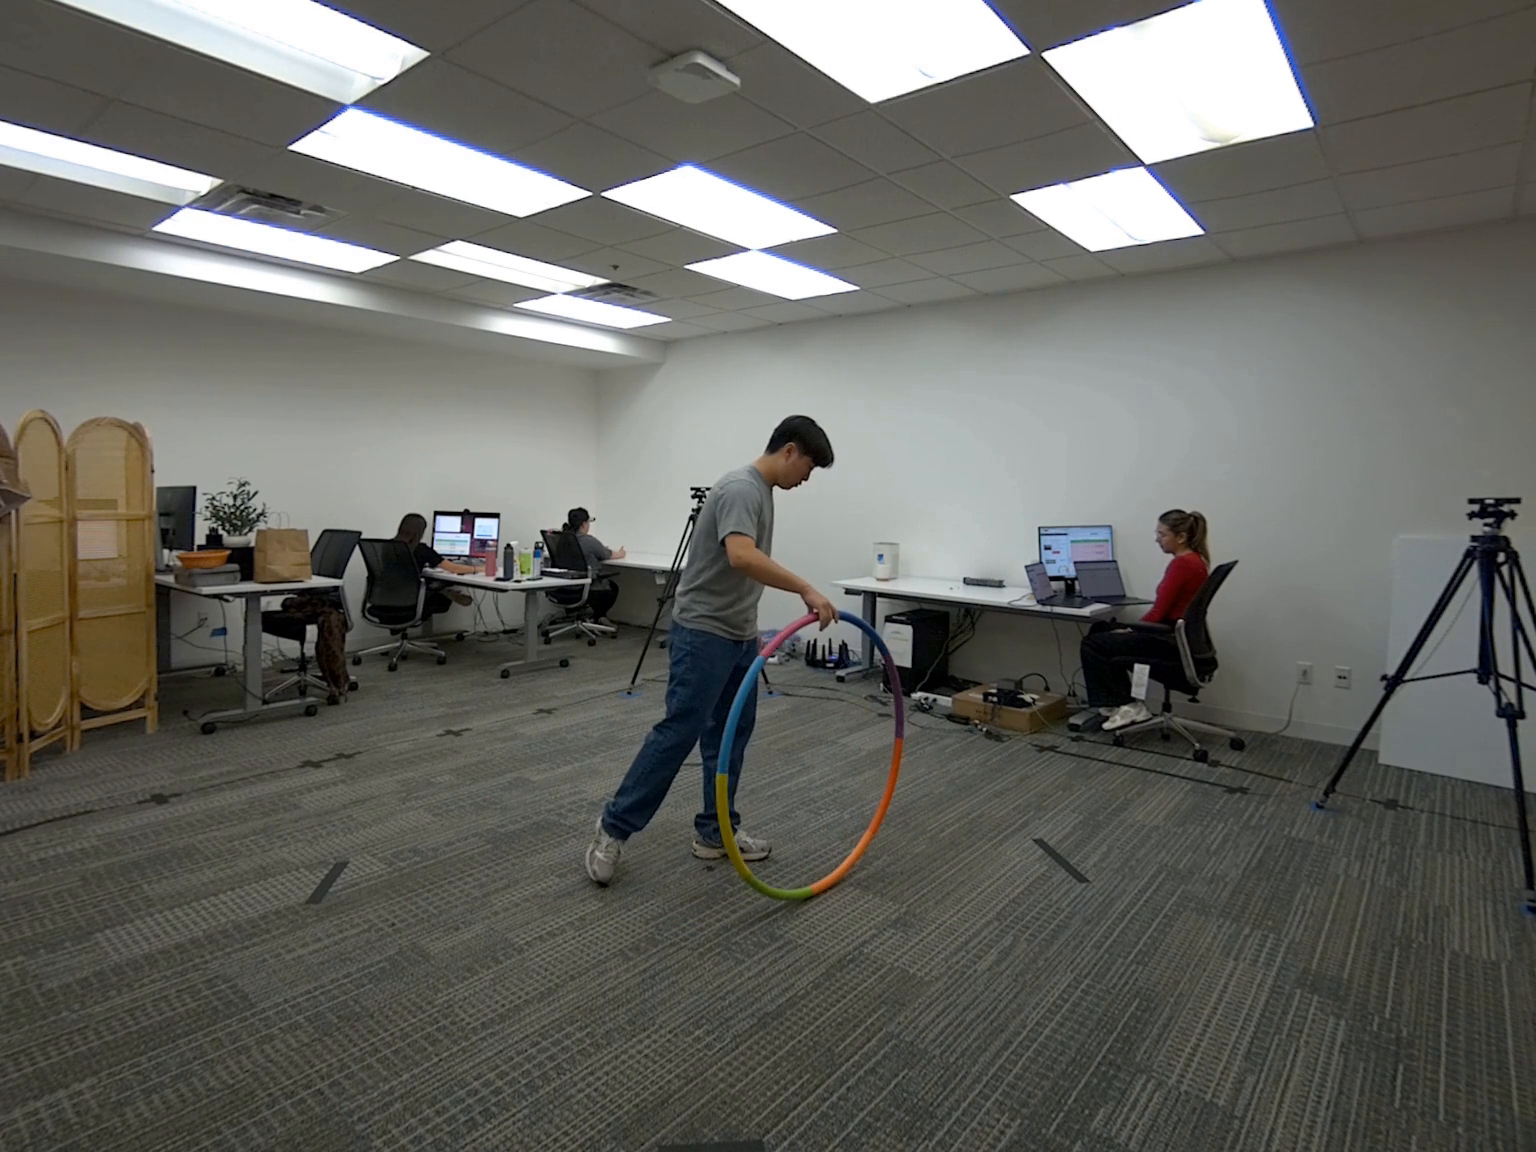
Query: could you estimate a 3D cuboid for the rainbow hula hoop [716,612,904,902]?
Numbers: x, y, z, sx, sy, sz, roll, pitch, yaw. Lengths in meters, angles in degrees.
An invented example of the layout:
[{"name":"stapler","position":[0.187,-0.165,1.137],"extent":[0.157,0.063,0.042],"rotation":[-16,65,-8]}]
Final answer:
[{"name":"rainbow hula hoop","position":[0.167,0.605,2.910],"extent":[0.037,0.976,0.949],"rotation":[3,4,44]}]
